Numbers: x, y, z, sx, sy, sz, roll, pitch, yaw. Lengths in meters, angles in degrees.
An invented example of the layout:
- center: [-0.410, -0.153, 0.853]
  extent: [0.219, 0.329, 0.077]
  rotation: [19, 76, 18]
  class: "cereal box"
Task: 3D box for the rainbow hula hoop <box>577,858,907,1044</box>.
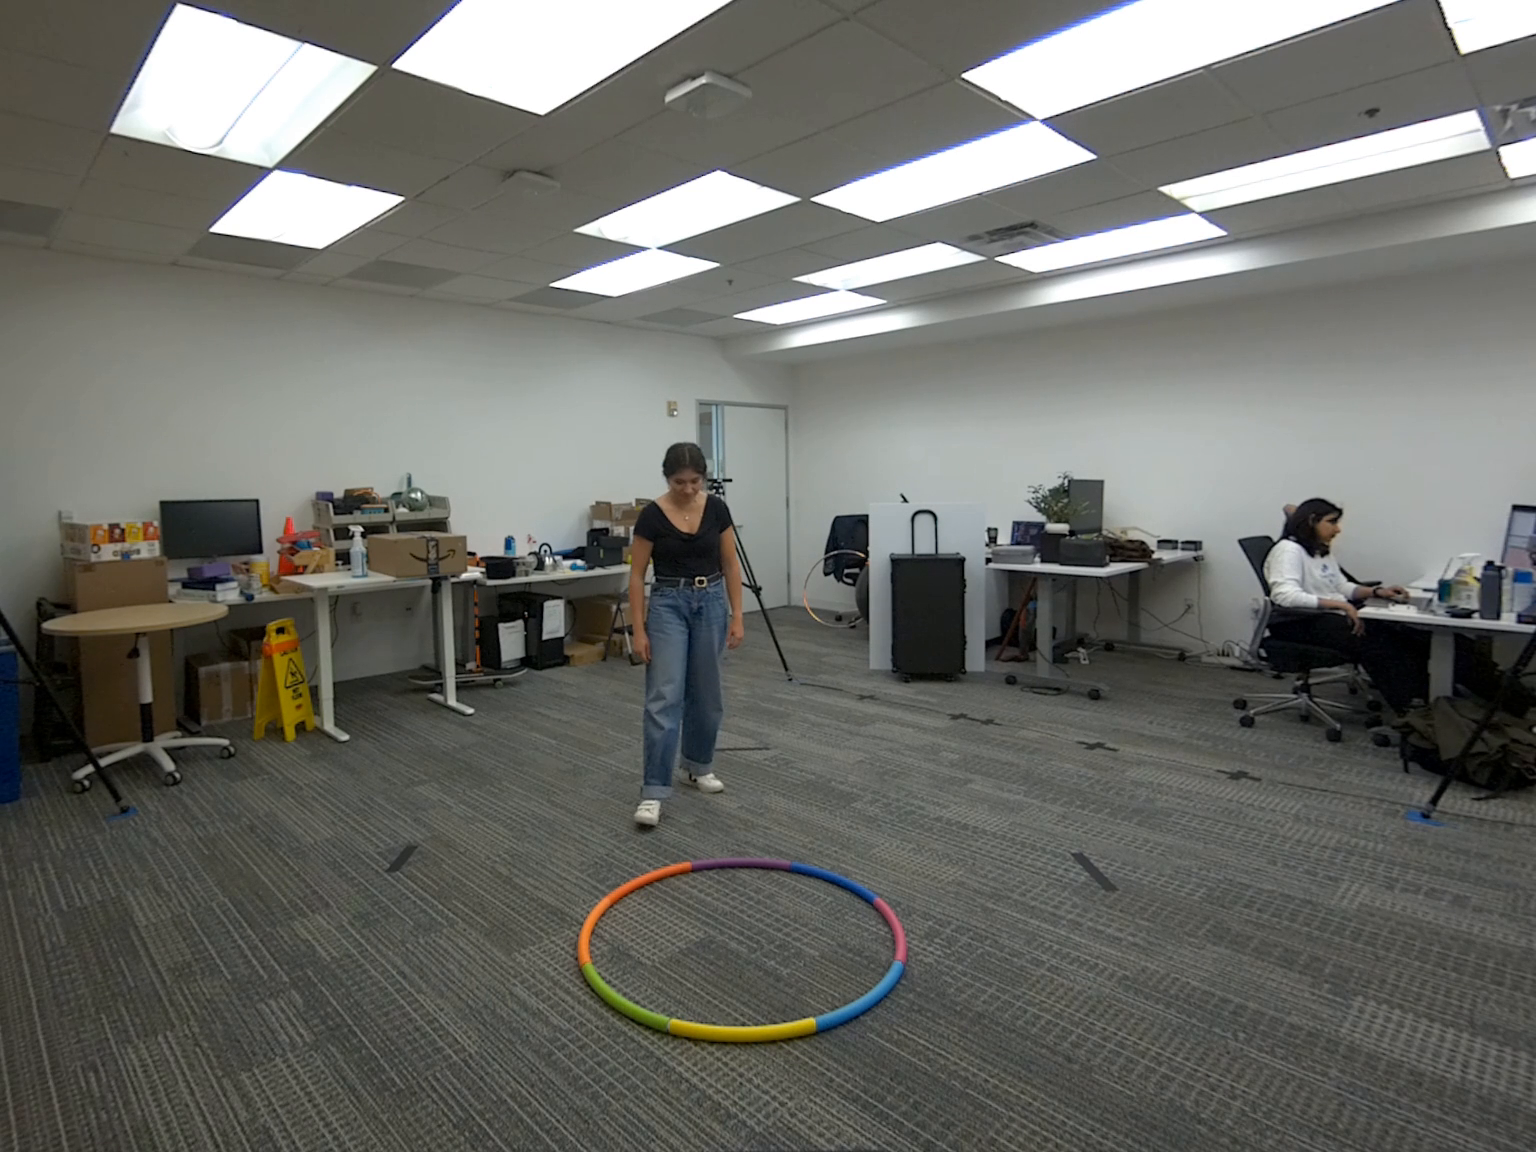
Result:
- center: [-0.079, 1.075, 2.613]
  extent: [0.978, 0.035, 0.984]
  rotation: [-1, 7, -2]
  class: "rainbow hula hoop"
